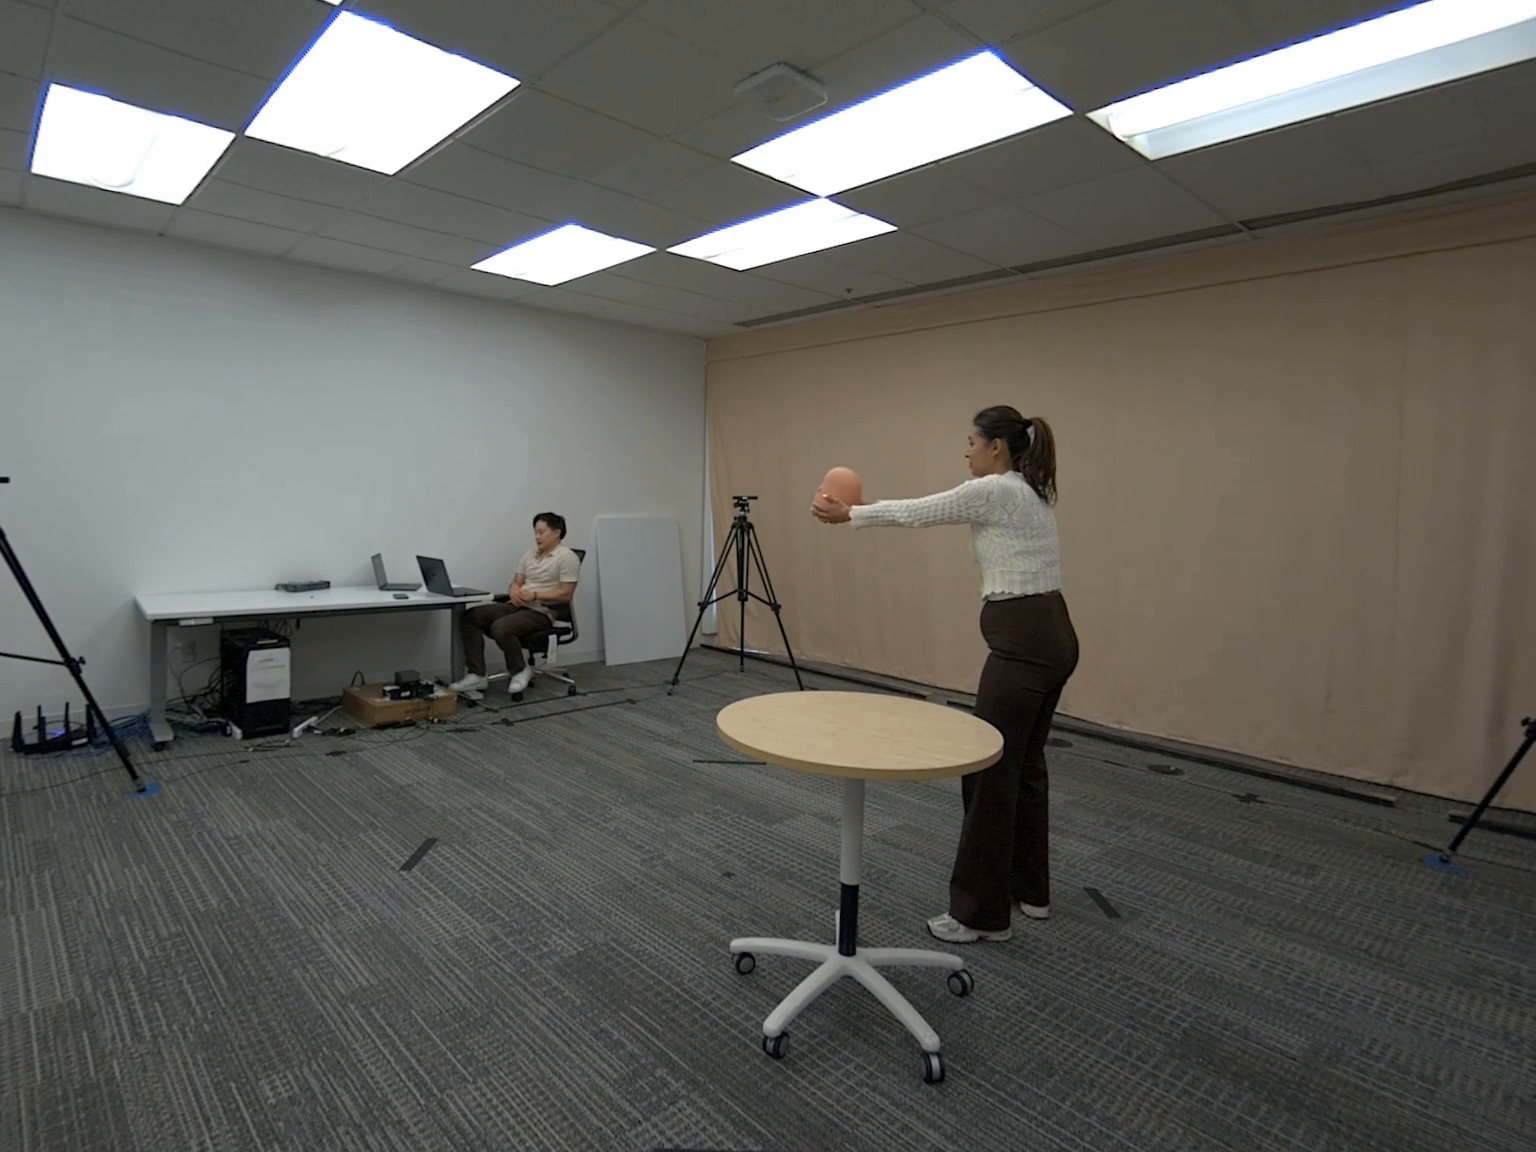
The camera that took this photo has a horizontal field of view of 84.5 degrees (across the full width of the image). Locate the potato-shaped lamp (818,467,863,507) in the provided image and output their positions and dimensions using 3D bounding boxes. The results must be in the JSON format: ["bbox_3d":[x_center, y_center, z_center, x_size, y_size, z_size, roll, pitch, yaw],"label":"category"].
[{"bbox_3d":[0.256,-0.303,3.136,0.176,0.197,0.161,13,9,37],"label":"potato-shaped lamp"}]
